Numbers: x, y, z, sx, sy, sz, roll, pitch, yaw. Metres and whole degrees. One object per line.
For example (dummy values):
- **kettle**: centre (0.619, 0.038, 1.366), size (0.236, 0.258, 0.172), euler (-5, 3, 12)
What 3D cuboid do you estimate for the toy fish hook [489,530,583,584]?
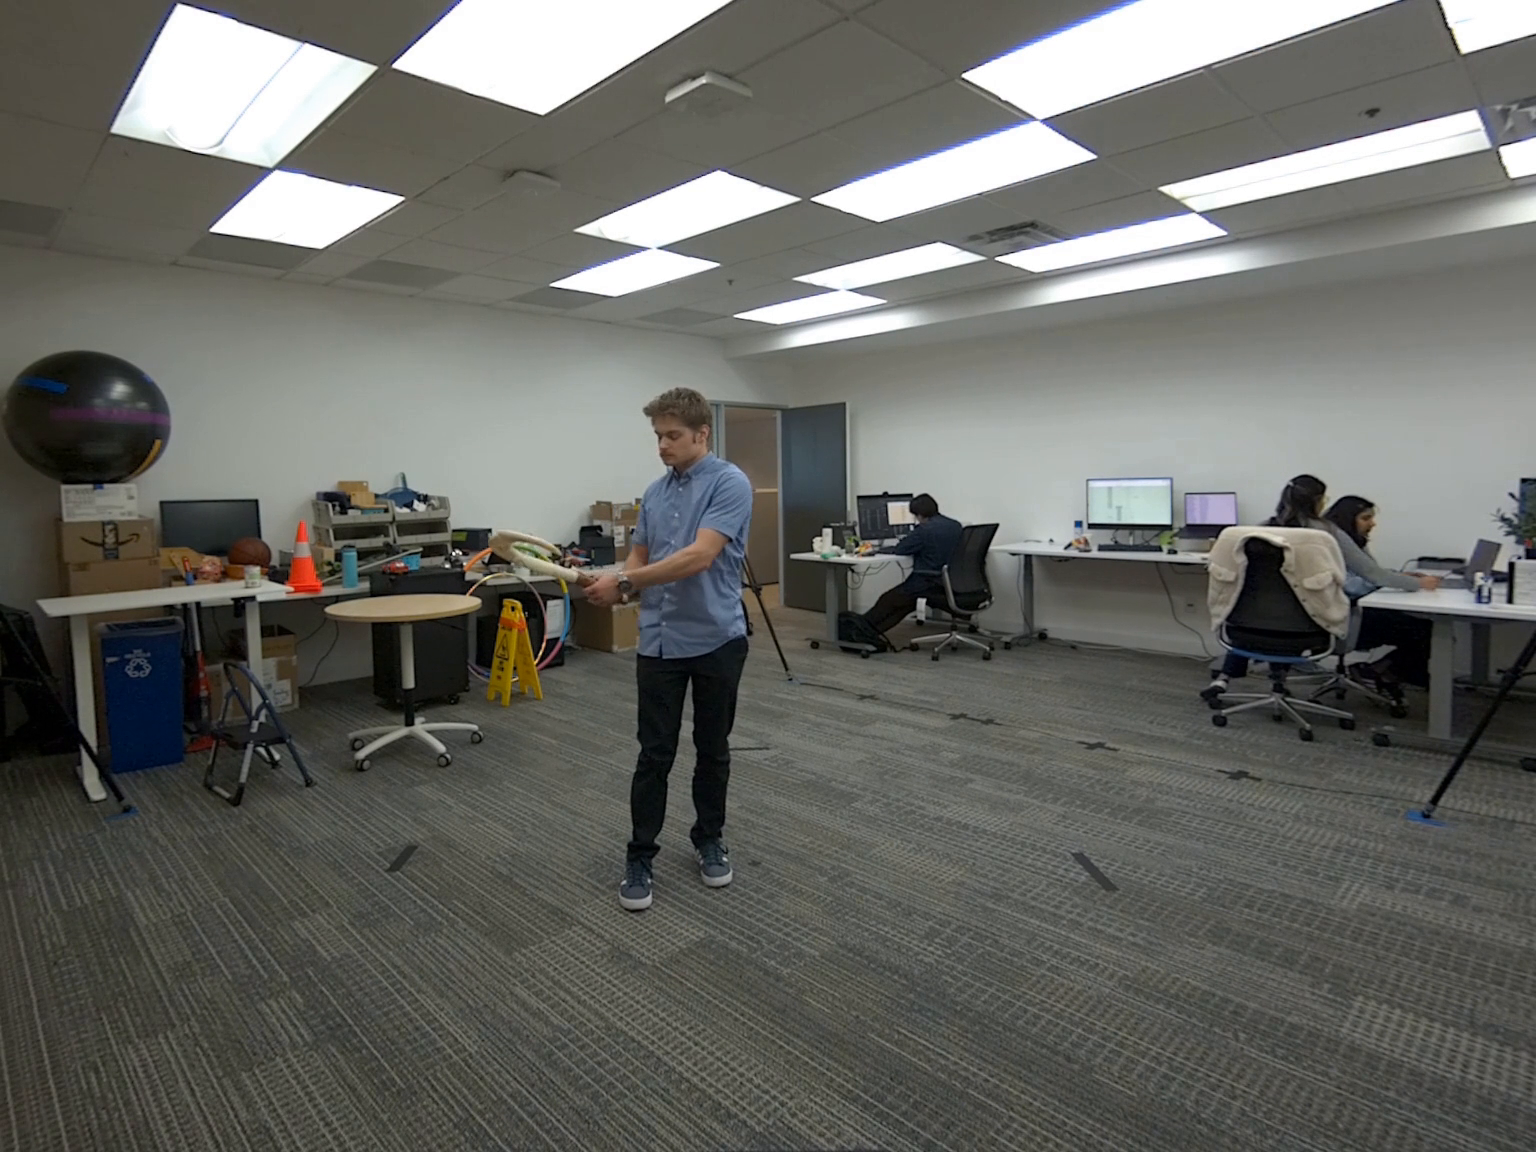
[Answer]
- **toy fish hook**: centre (-0.592, -0.024, 2.691), size (0.492, 0.049, 0.228), euler (25, -25, -27)
